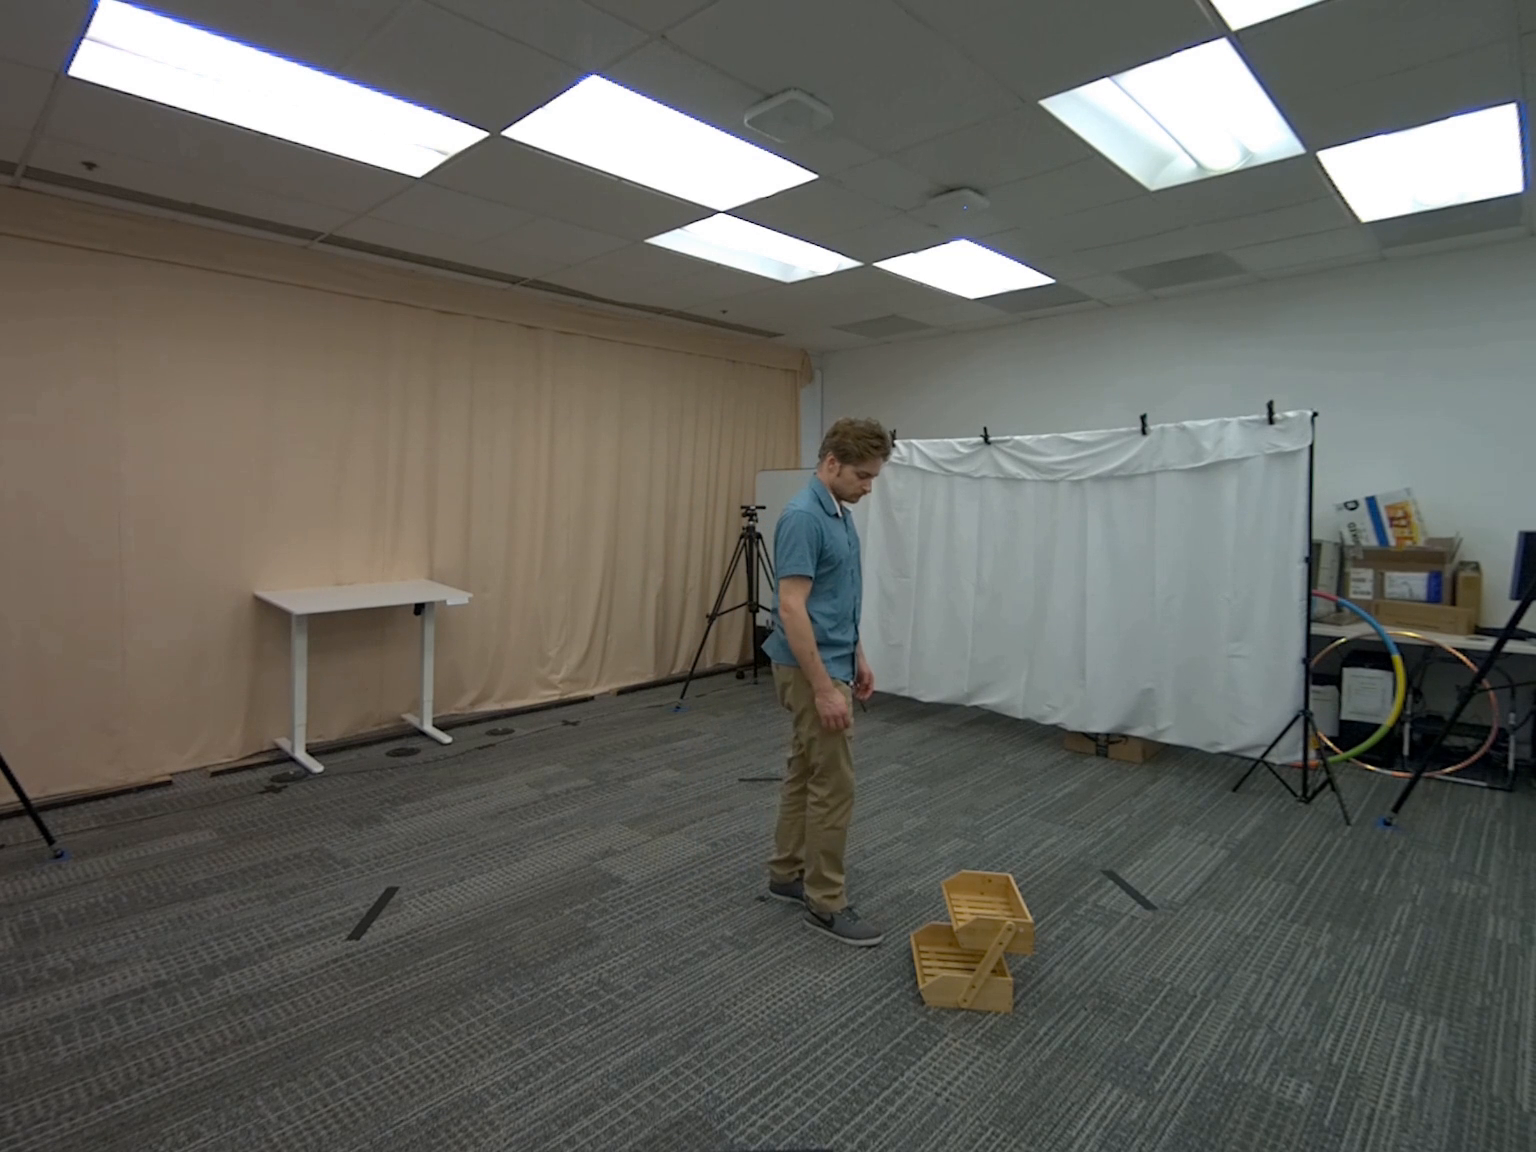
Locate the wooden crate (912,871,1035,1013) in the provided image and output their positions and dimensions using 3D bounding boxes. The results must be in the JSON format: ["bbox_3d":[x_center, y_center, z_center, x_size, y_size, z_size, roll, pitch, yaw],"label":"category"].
[{"bbox_3d":[0.583,1.050,2.463,0.304,0.272,0.323,1,5,5],"label":"wooden crate"}]
